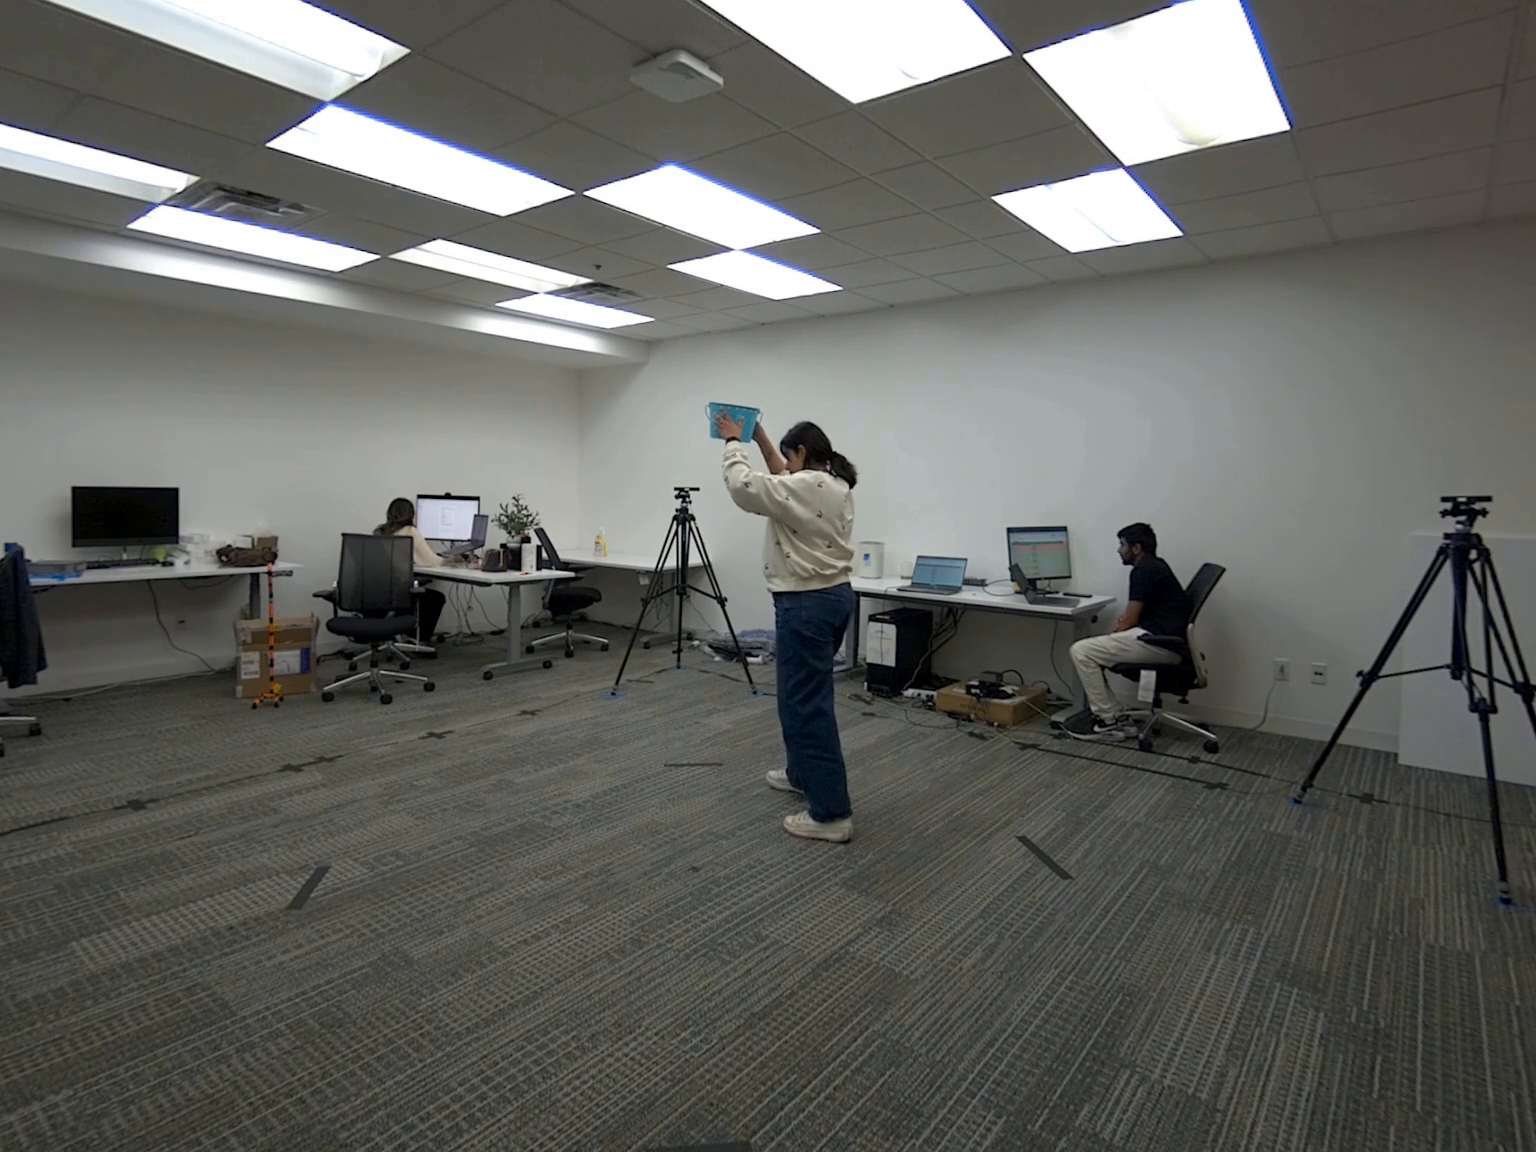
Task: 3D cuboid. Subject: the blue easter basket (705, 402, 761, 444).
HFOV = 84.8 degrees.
[{"bbox_3d":[-0.160,-0.679,3.740,0.243,0.155,0.246,8,8,-3],"label":"blue easter basket"}]
